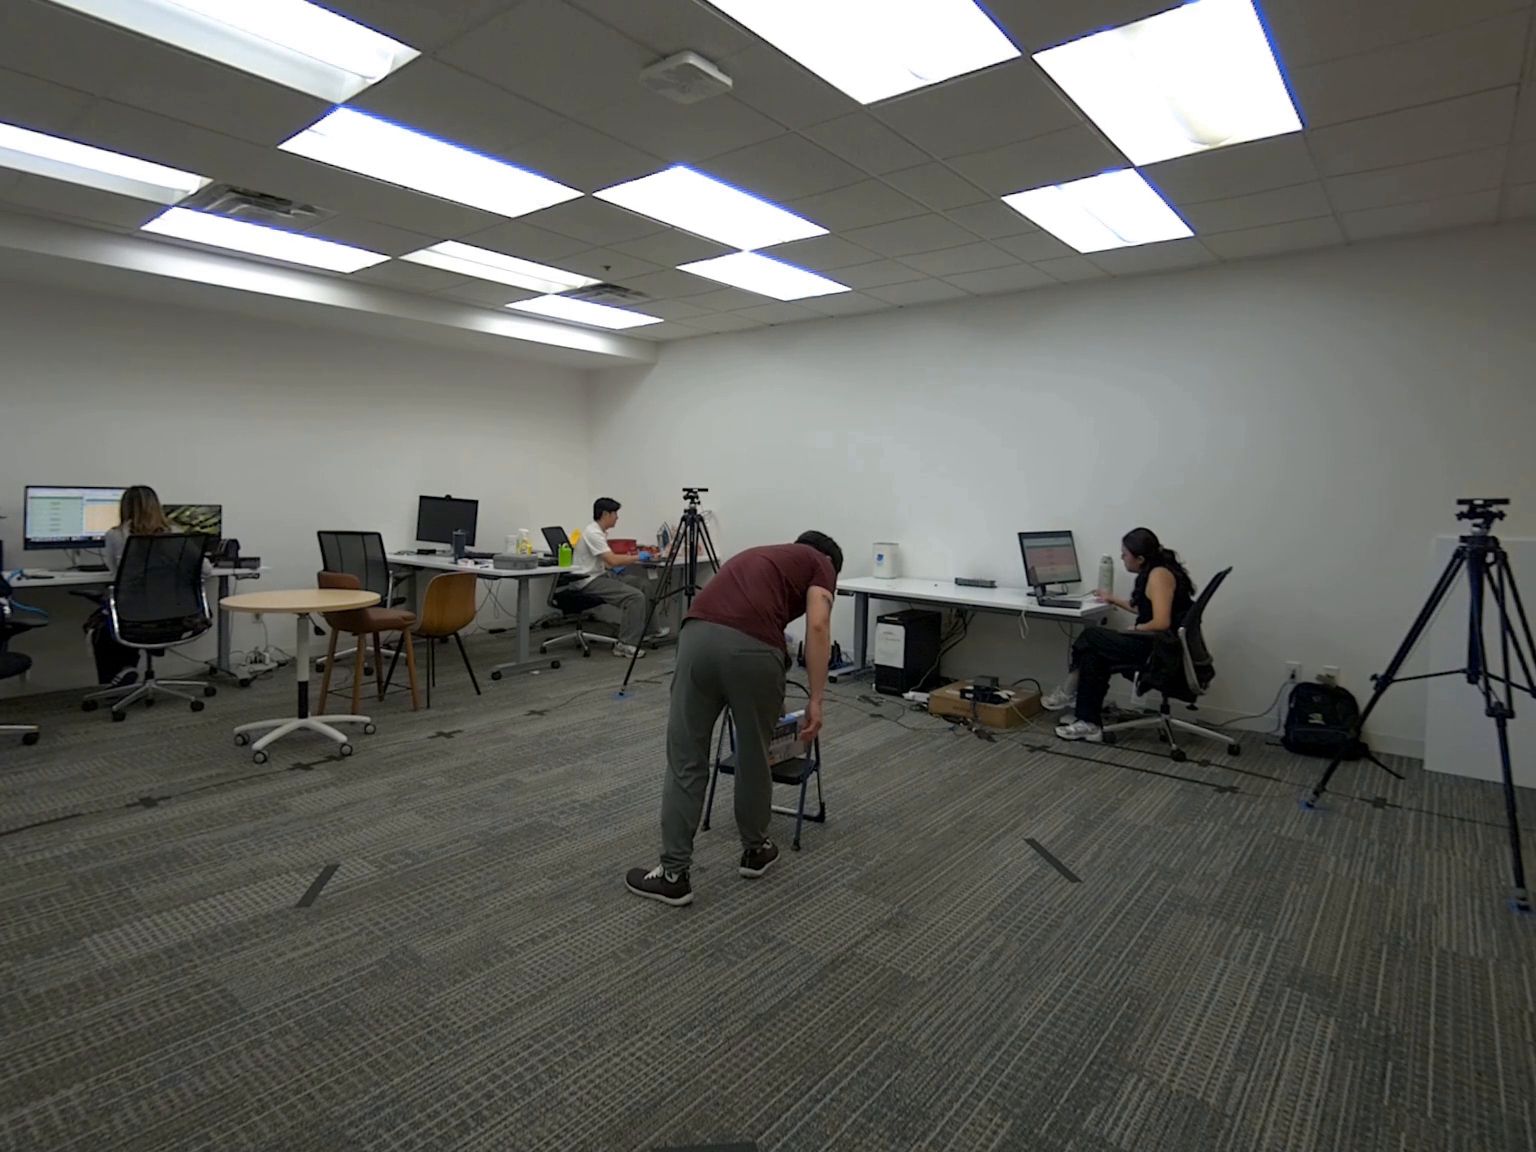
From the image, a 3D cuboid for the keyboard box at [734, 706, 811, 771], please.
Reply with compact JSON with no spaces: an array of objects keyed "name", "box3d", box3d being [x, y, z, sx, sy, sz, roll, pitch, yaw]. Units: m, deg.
[{"name":"keyboard box","box3d":[0.026,0.681,3.527,0.061,0.175,0.424,5,7,40]}]
